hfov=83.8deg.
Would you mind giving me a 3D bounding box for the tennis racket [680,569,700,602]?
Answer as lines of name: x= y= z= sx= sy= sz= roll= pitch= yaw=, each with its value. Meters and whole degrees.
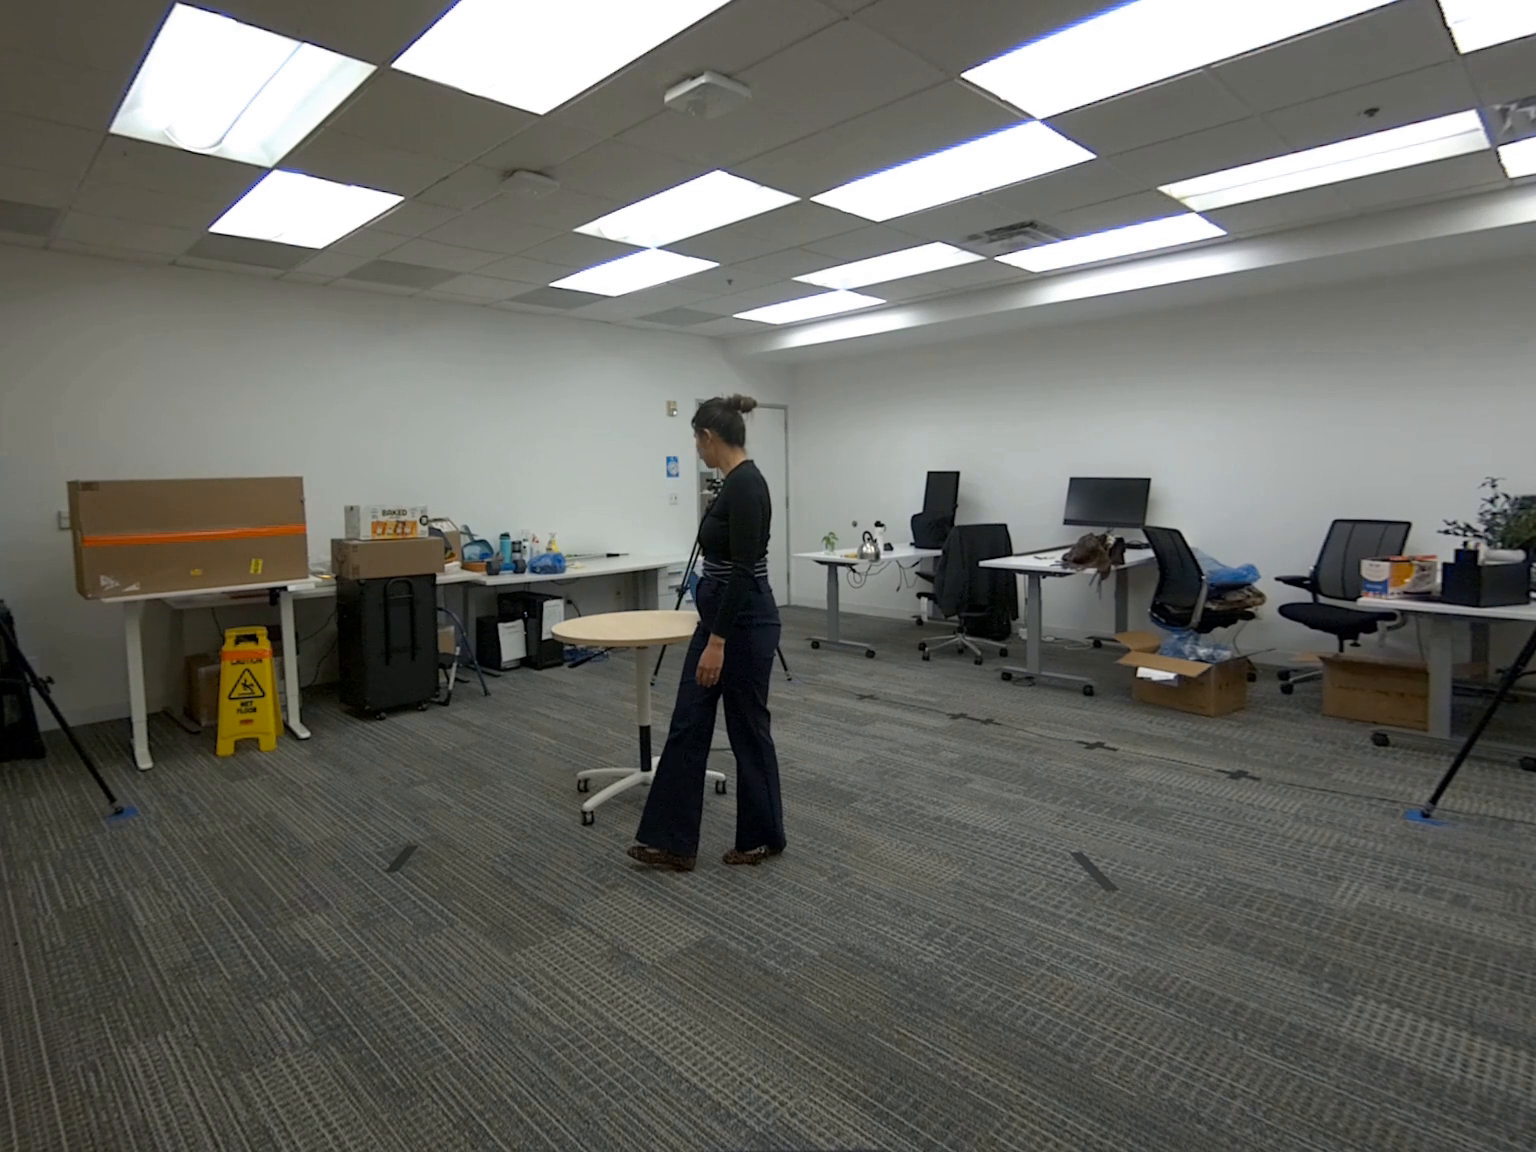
tennis racket: x=-0.294 y=0.087 z=3.739 sx=0.031 sy=0.212 sz=0.441 roll=-7 pitch=9 yaw=-13
